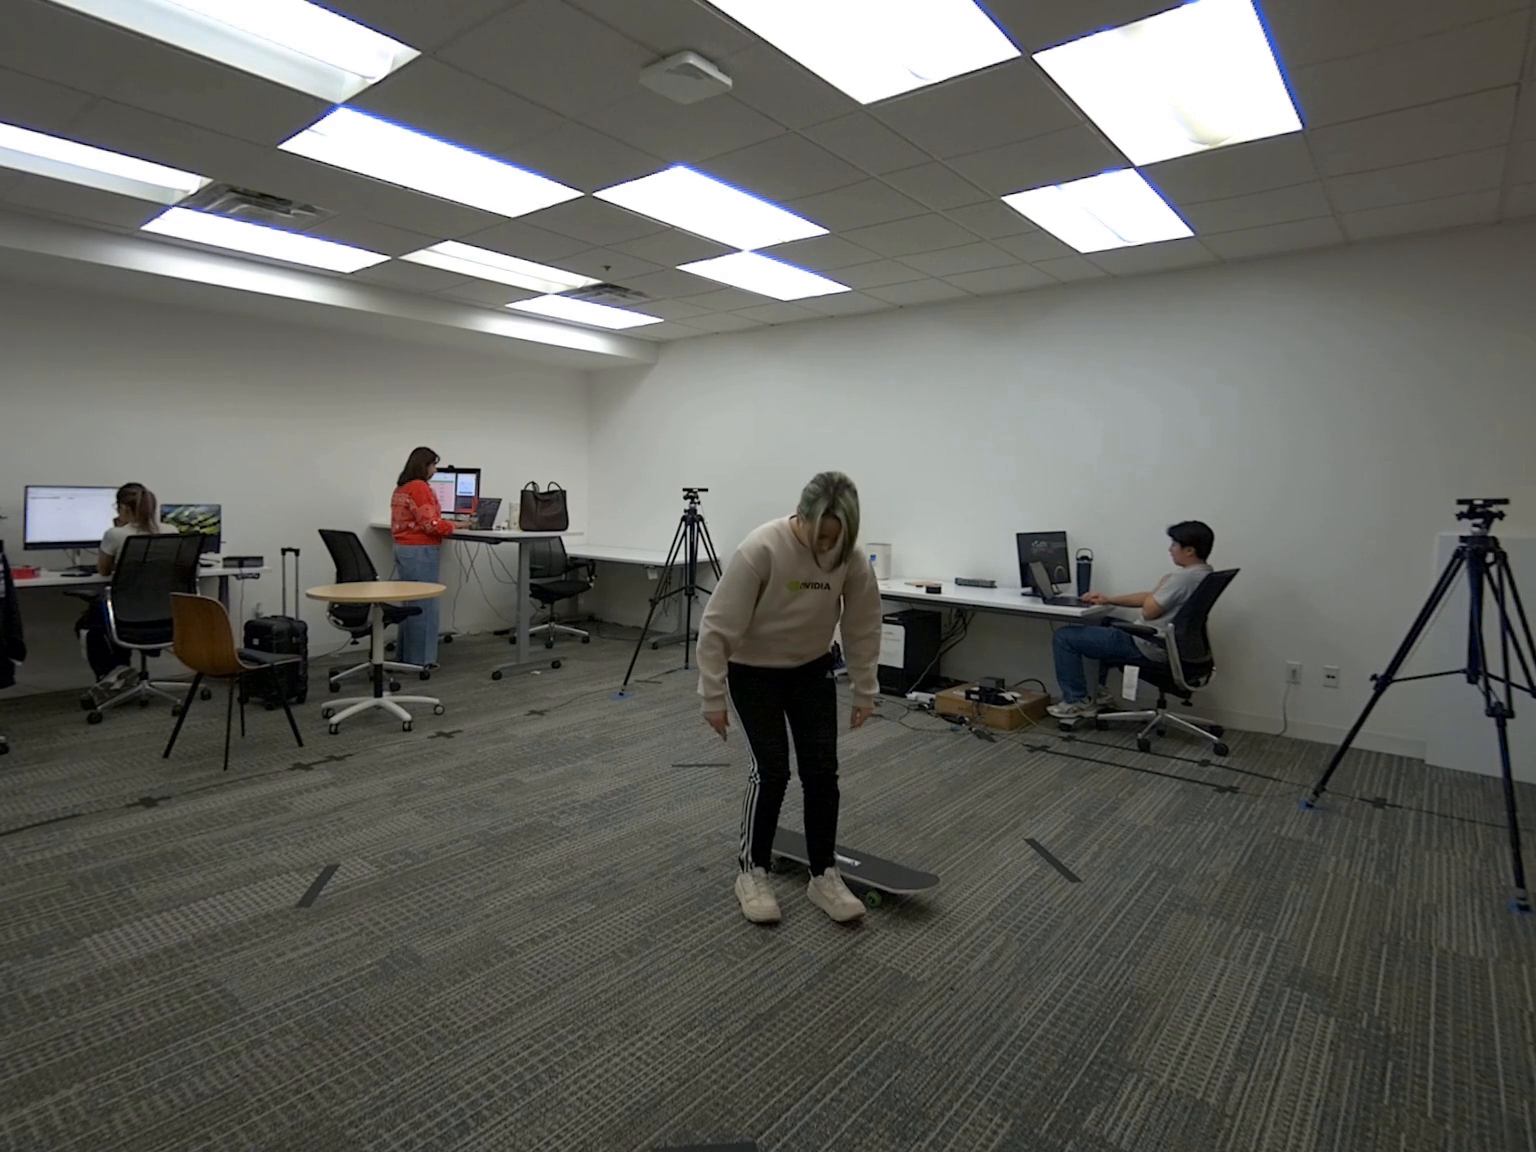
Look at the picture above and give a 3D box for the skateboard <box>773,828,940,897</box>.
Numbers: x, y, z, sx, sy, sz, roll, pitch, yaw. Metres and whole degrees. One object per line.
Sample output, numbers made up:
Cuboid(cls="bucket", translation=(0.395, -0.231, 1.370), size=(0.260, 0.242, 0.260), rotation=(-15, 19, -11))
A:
Cuboid(cls="skateboard", translation=(0.229, 1.031, 3.037), size=(0.811, 0.110, 0.188), rotation=(5, 6, 36))
